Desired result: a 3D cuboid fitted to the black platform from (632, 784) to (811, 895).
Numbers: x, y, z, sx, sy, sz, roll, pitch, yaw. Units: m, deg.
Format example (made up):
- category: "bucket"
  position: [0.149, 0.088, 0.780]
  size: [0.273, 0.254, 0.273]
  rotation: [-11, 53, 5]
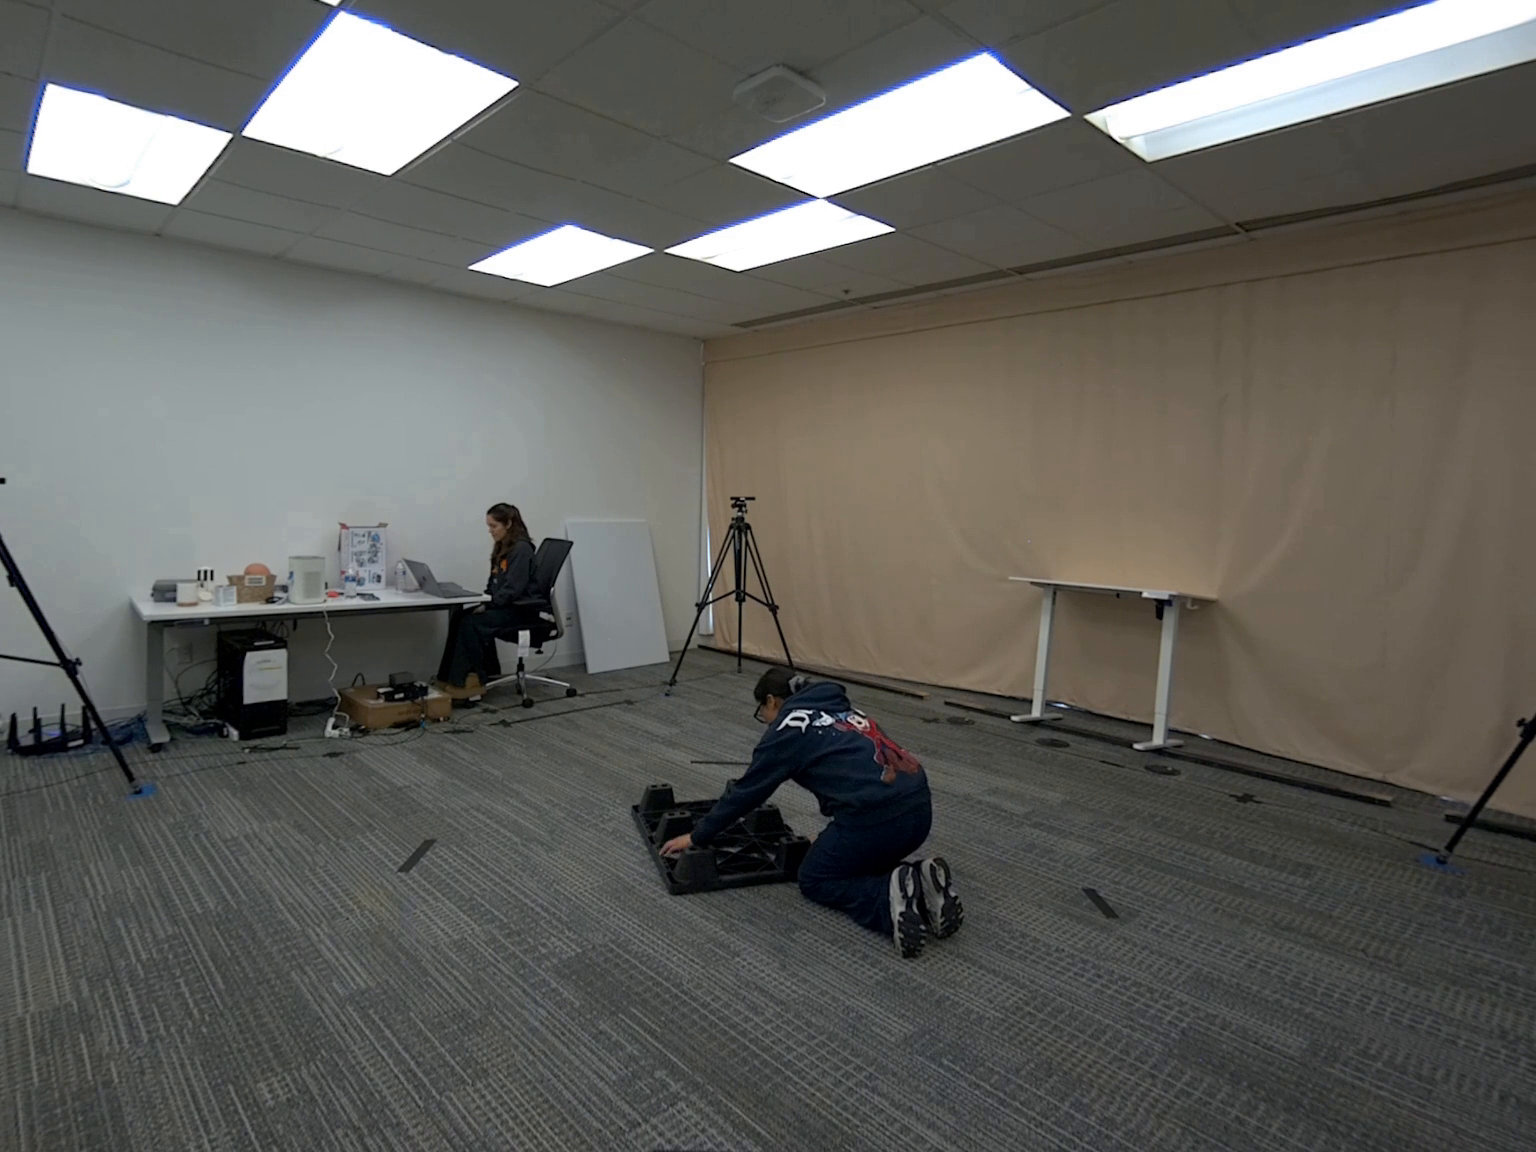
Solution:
- category: "black platform"
  position: [-0.190, 1.010, 3.398]
  size: [0.596, 0.143, 0.820]
  rotation: [-1, 6, -20]
